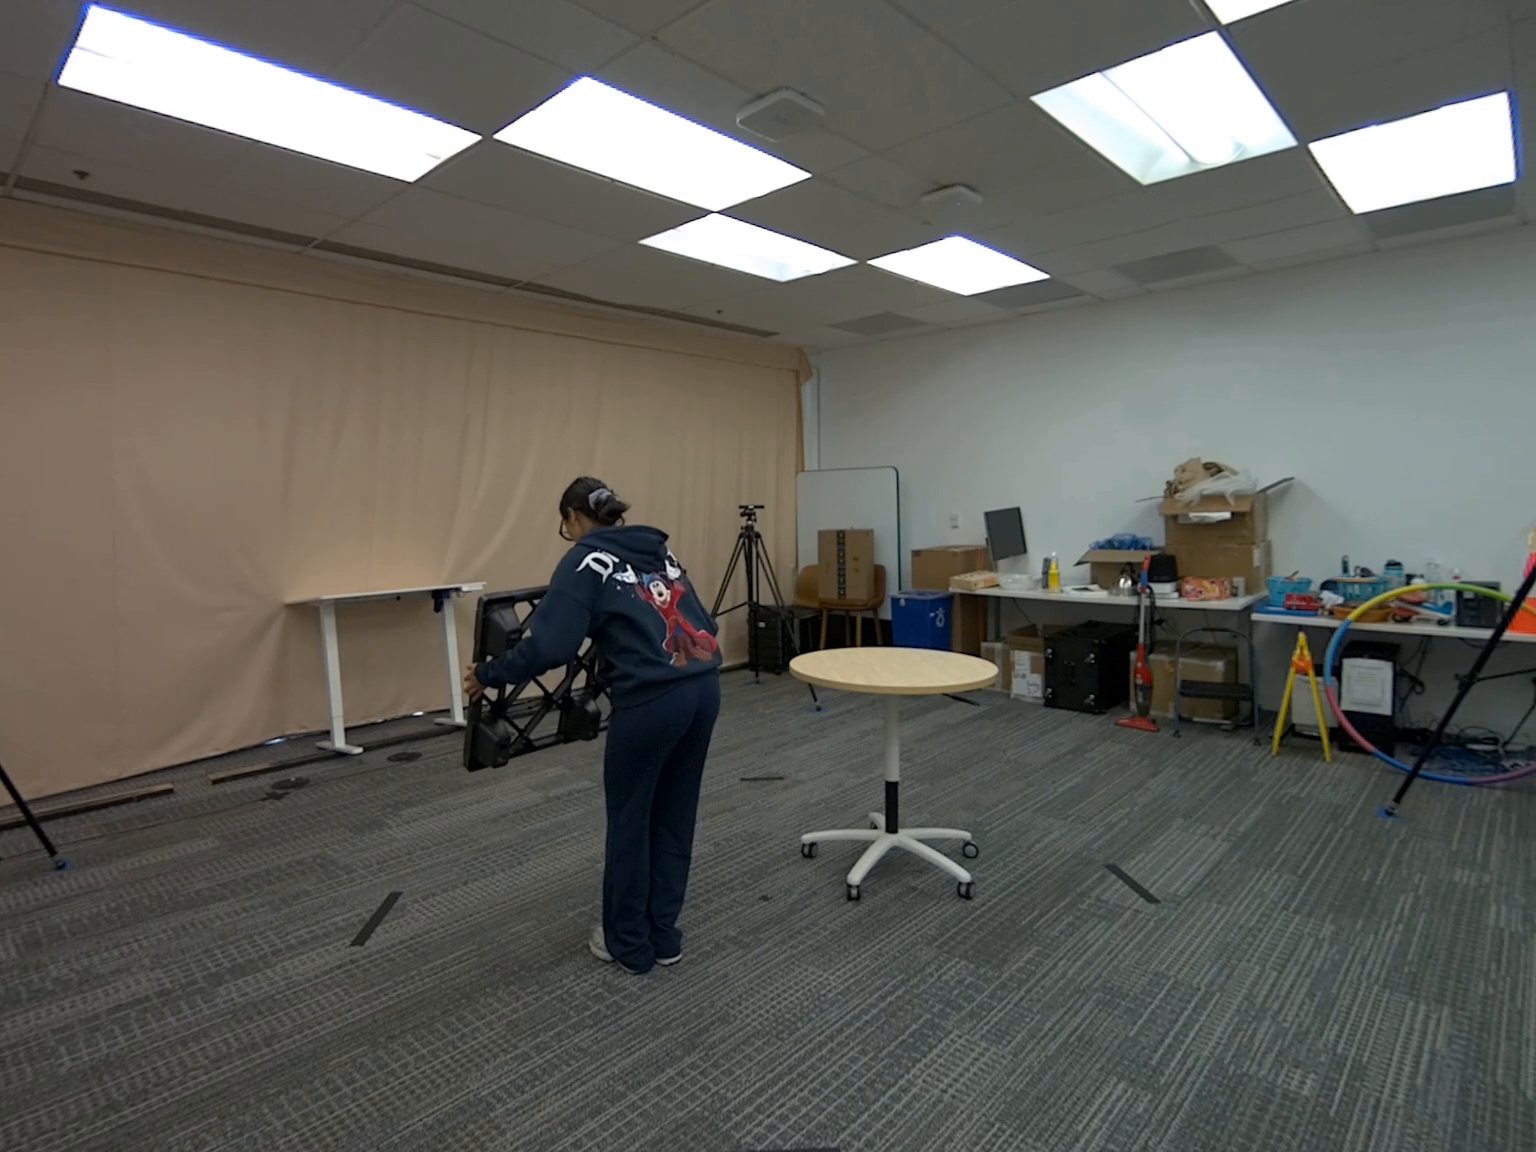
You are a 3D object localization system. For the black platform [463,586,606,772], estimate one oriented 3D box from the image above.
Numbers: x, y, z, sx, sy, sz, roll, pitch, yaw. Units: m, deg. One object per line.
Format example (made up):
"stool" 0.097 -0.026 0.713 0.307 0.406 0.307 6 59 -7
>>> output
"black platform" -0.597 0.298 2.798 0.782 0.600 0.149 -9 28 -44
